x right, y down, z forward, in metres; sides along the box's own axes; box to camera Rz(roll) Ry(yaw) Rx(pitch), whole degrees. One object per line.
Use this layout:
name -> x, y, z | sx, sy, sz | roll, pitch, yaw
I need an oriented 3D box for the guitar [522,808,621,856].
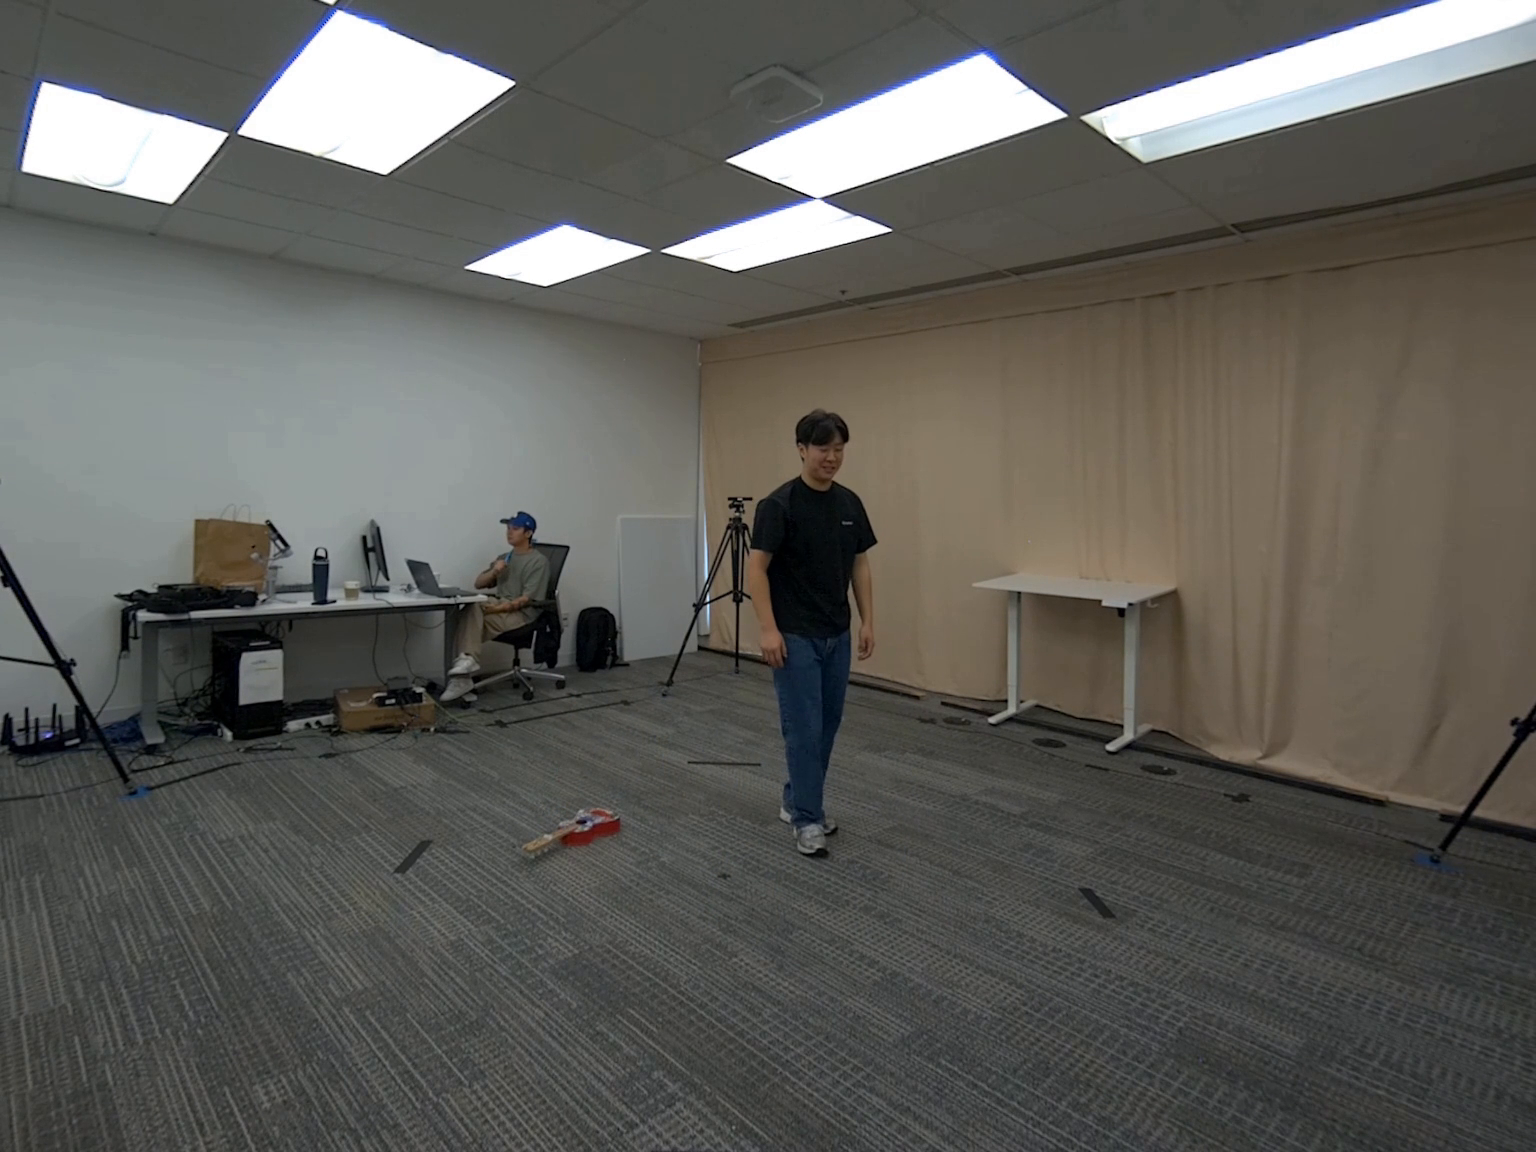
guitar -> -0.828, 1.034, 3.385 | 0.198, 0.070, 0.487 | 5, 6, 37
